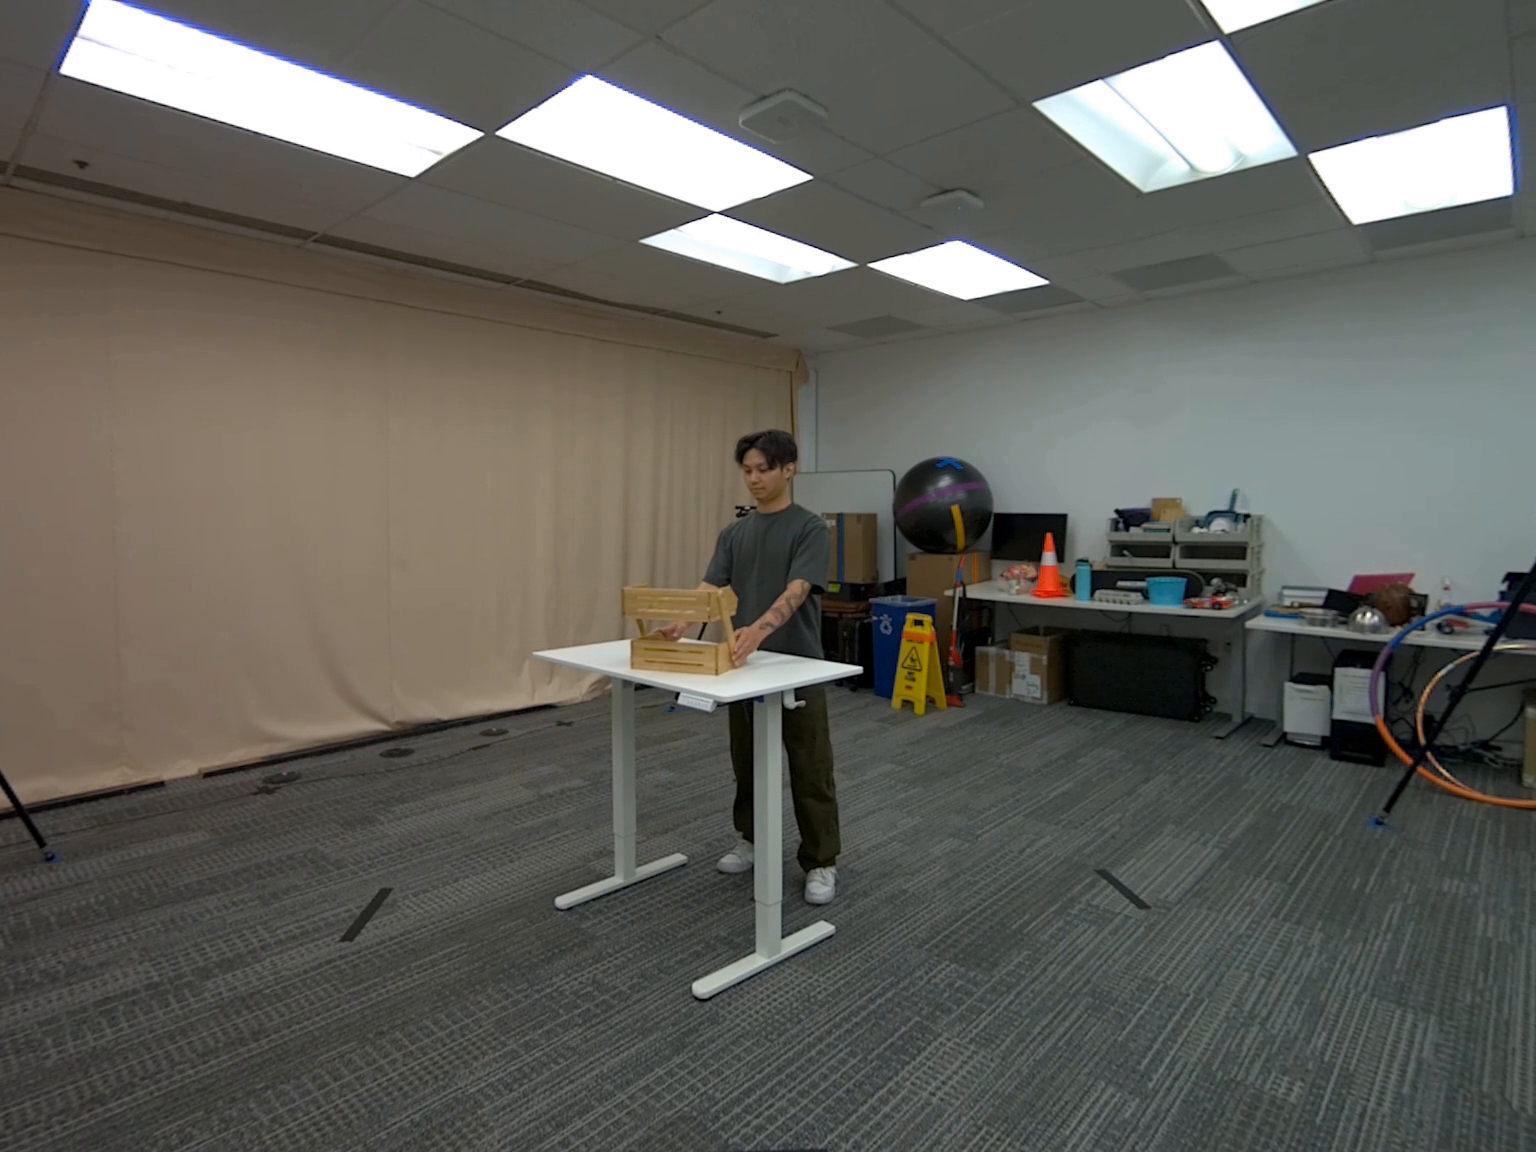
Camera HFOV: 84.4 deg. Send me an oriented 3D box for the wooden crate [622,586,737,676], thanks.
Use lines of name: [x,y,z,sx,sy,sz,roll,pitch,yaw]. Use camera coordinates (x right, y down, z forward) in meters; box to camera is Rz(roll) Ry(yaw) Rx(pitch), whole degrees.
wooden crate: [-0.258,0.157,2.675,0.332,0.273,0.295,1,3,22]
